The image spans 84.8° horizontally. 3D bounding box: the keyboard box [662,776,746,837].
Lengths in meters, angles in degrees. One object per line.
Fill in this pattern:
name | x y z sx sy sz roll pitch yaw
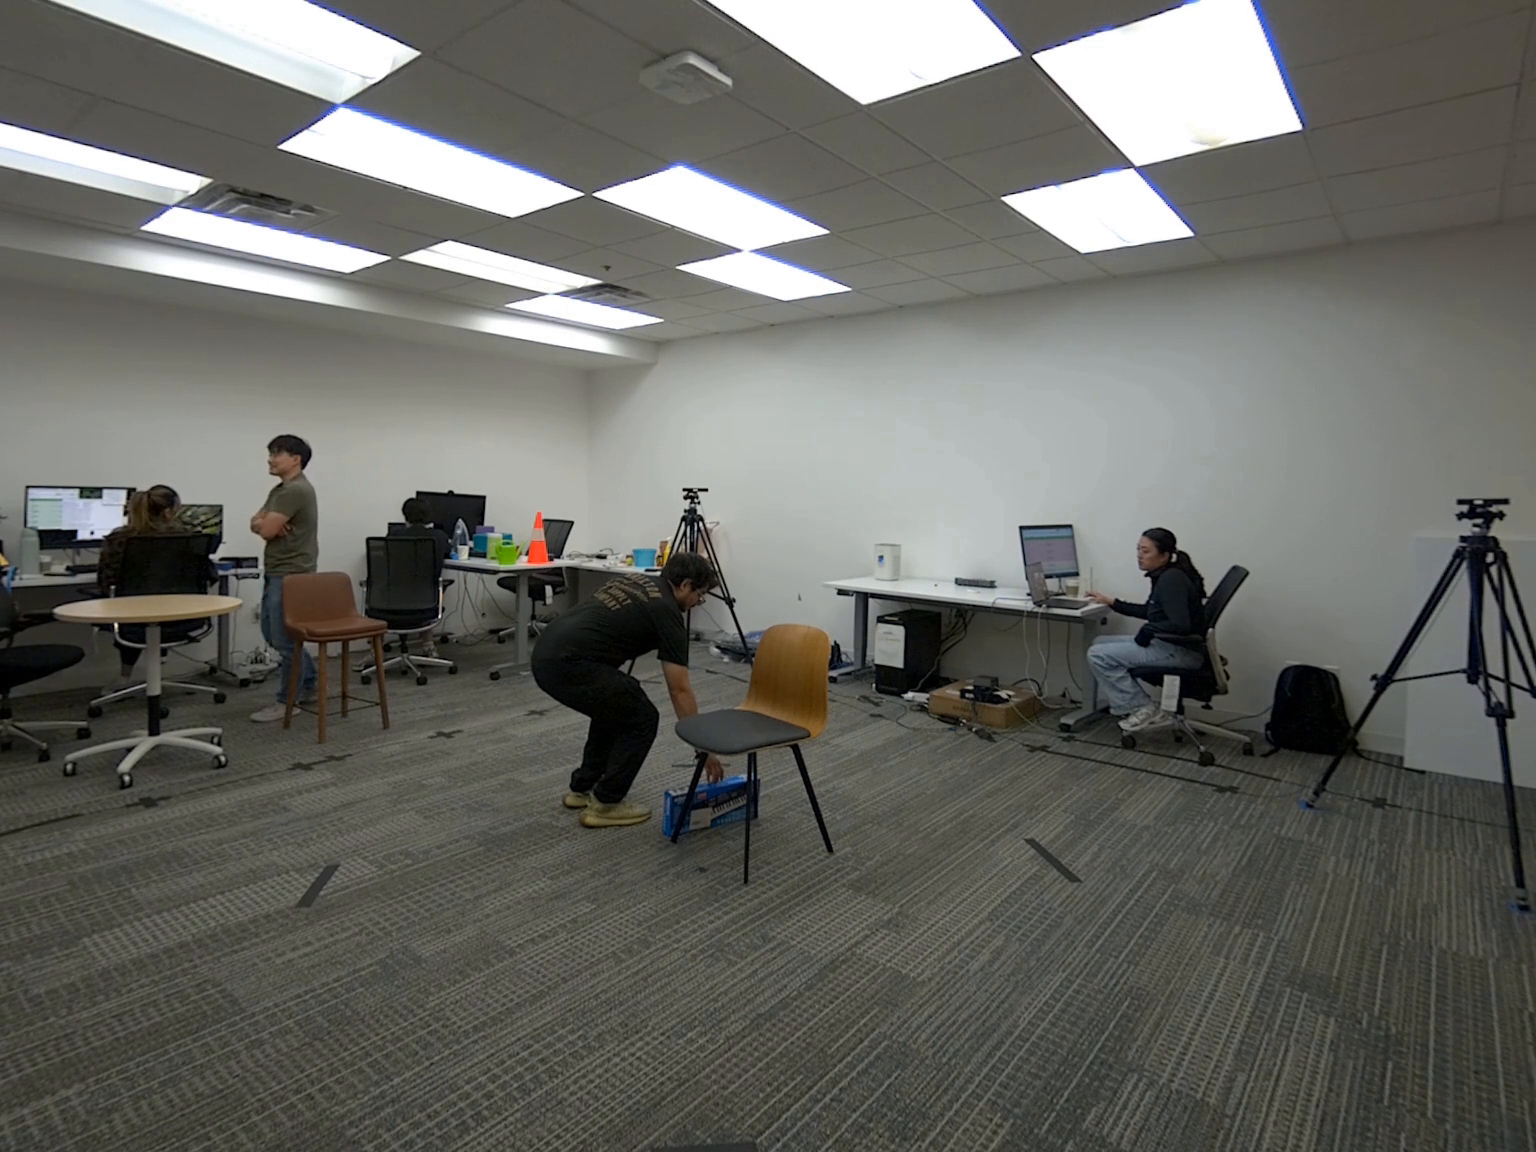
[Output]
keyboard box | -0.242 0.945 3.522 0.424 0.175 0.061 -3 10 -34
